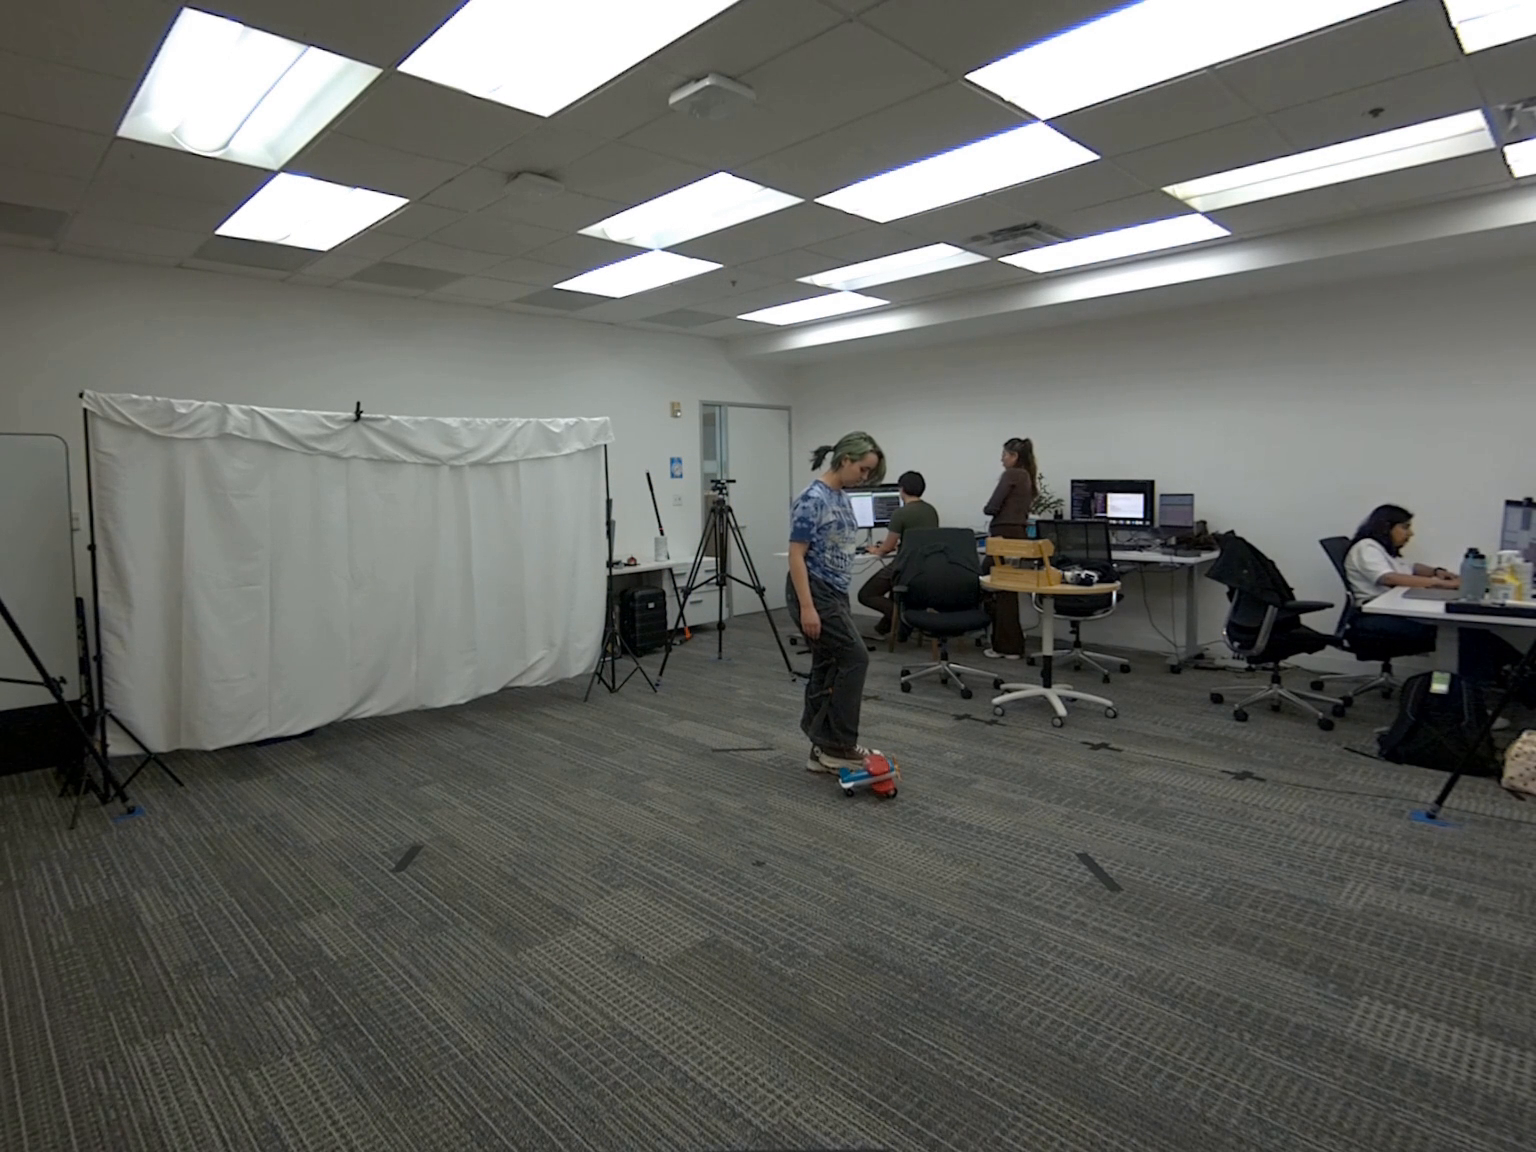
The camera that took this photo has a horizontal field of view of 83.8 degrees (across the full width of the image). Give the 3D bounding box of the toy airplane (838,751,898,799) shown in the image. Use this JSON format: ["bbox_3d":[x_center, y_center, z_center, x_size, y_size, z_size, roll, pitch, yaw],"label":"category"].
[{"bbox_3d":[0.450,0.891,3.747,0.253,0.156,0.258,-2,4,-32],"label":"toy airplane"}]
